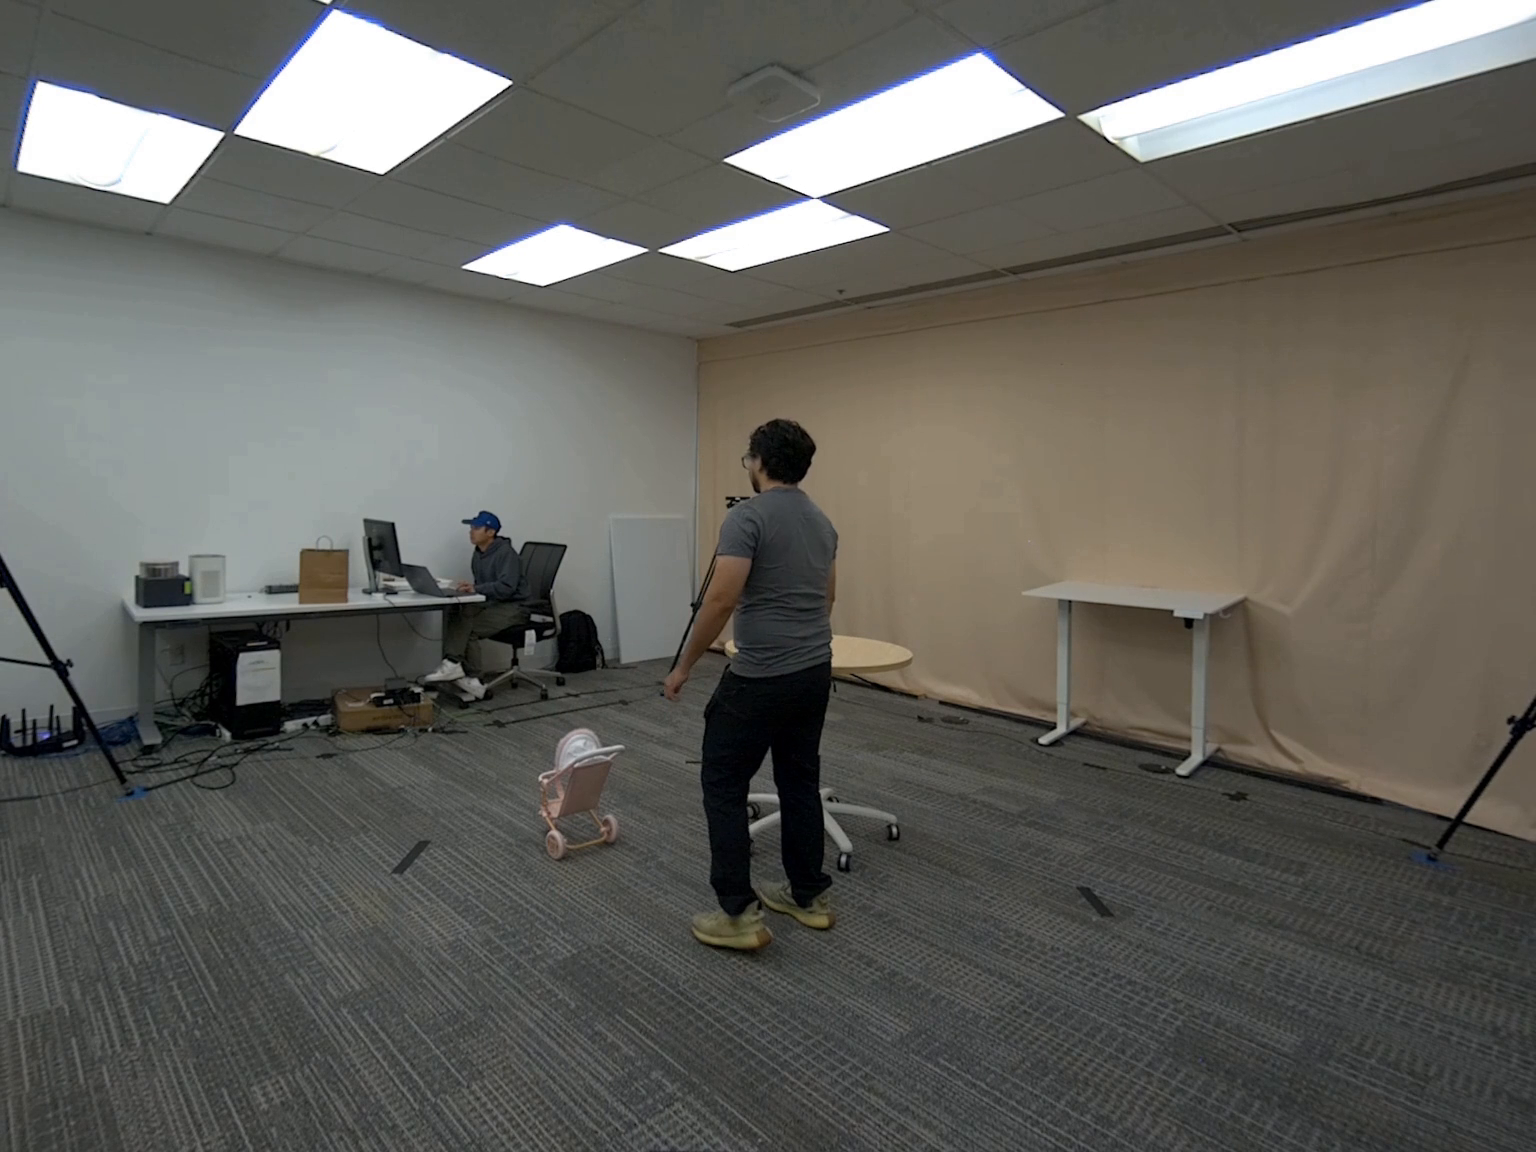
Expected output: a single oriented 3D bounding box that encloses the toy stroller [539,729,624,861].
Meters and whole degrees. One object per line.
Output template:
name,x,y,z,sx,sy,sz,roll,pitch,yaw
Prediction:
toy stroller,-0.769,0.844,3.337,0.275,0.530,0.352,-1,19,-39
